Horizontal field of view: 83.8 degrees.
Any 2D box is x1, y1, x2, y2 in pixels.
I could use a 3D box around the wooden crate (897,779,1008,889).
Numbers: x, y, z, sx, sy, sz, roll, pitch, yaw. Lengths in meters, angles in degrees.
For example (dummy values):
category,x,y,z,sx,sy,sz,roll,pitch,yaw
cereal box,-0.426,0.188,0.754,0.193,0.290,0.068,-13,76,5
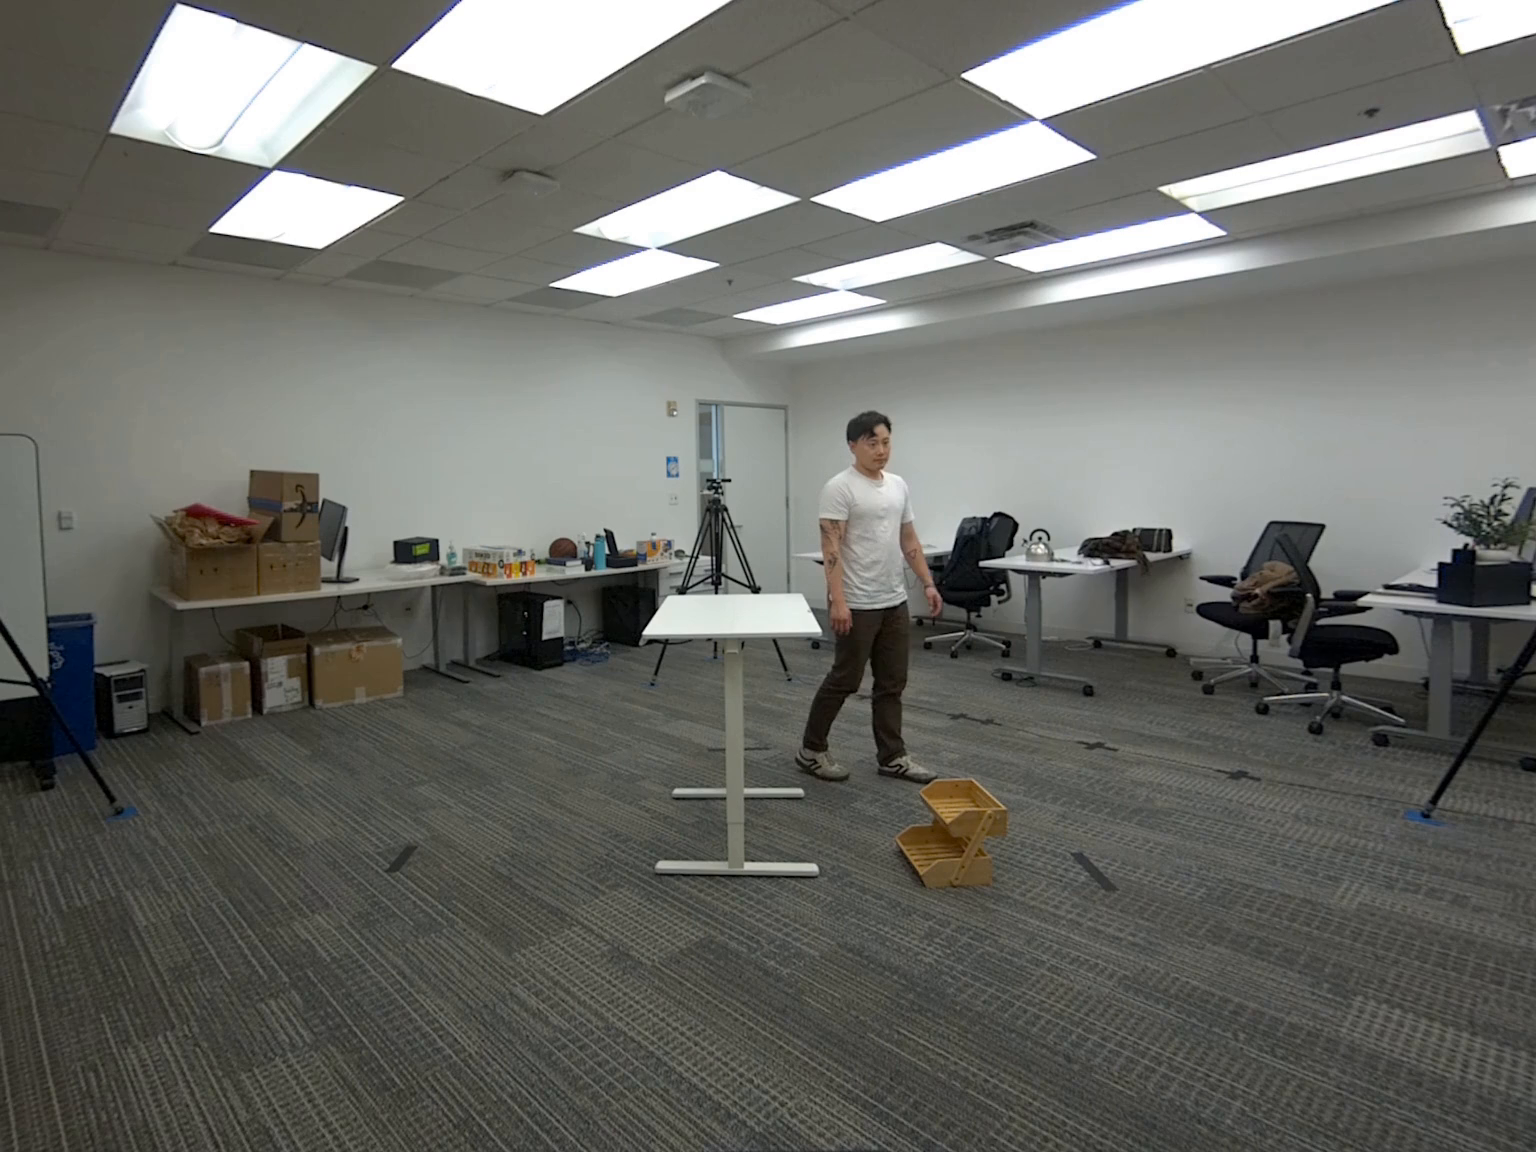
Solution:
category,x,y,z,sx,sy,sz,roll,pitch,yaw
wooden crate,0.637,0.899,3.056,0.300,0.272,0.328,-2,5,-8
